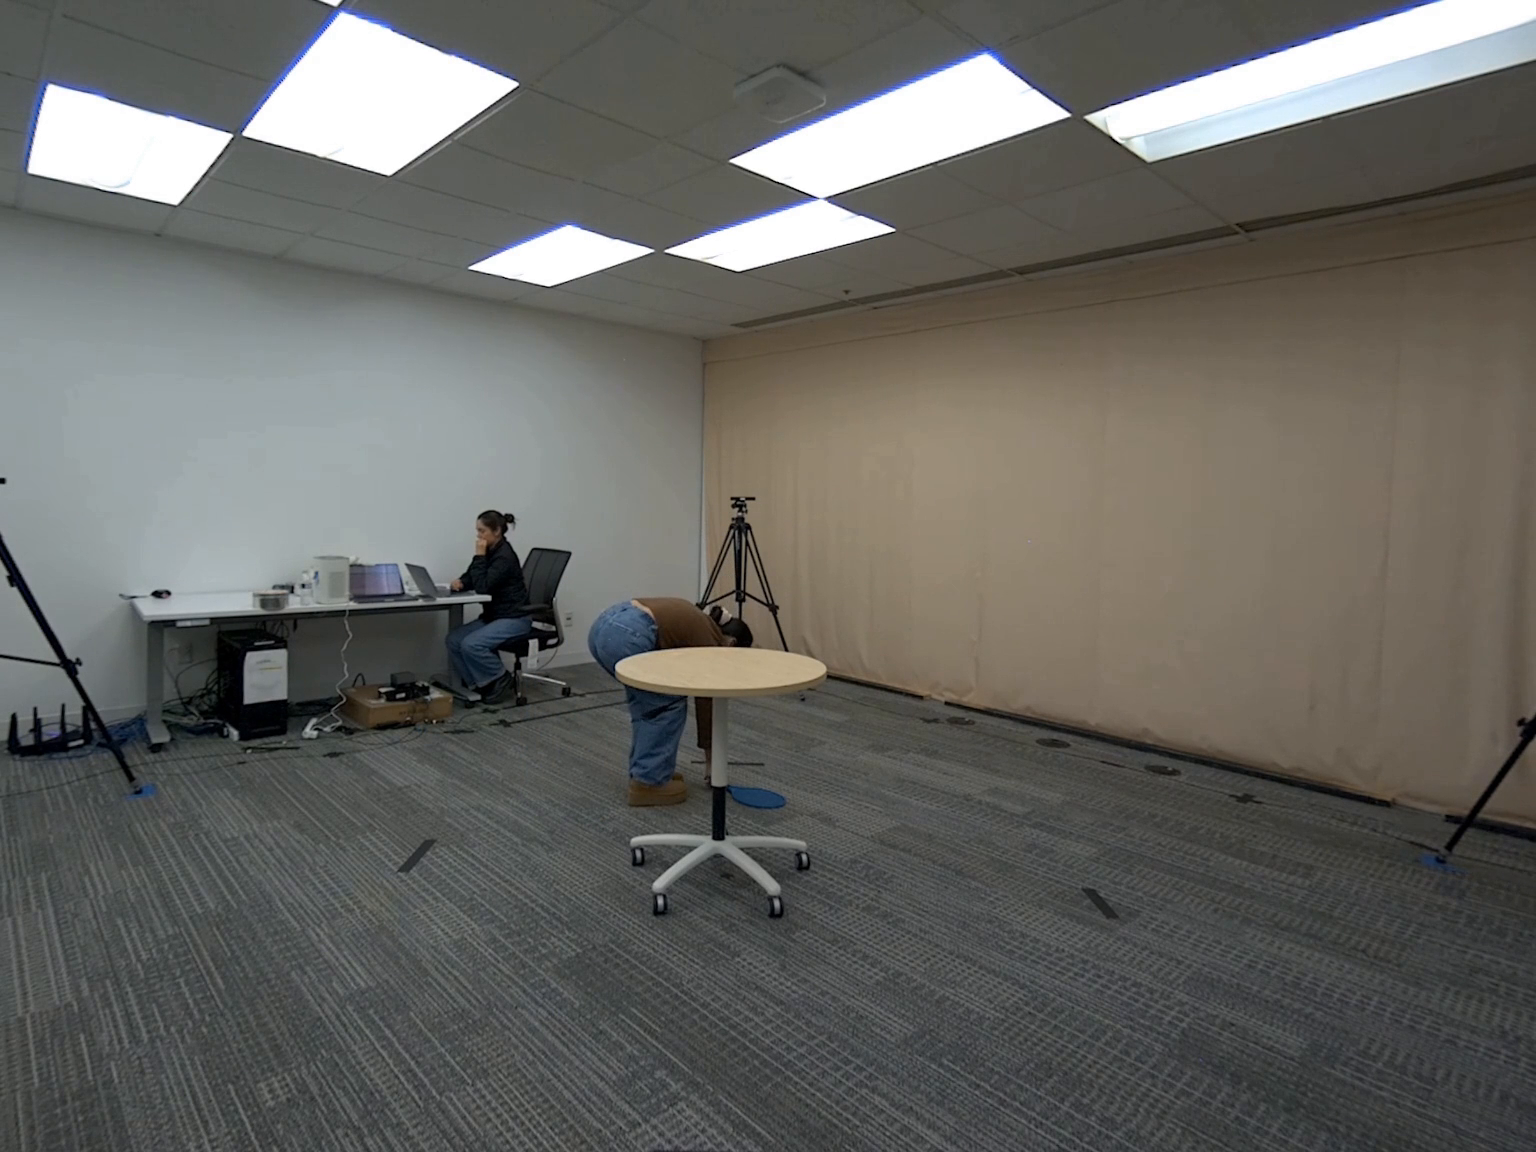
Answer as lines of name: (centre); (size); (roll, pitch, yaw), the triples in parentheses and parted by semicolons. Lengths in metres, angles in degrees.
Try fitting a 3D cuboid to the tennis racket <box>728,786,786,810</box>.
tennis racket: (-0.121, 1.018, 3.967); (0.444, 0.031, 0.209); (7, 7, 37)
